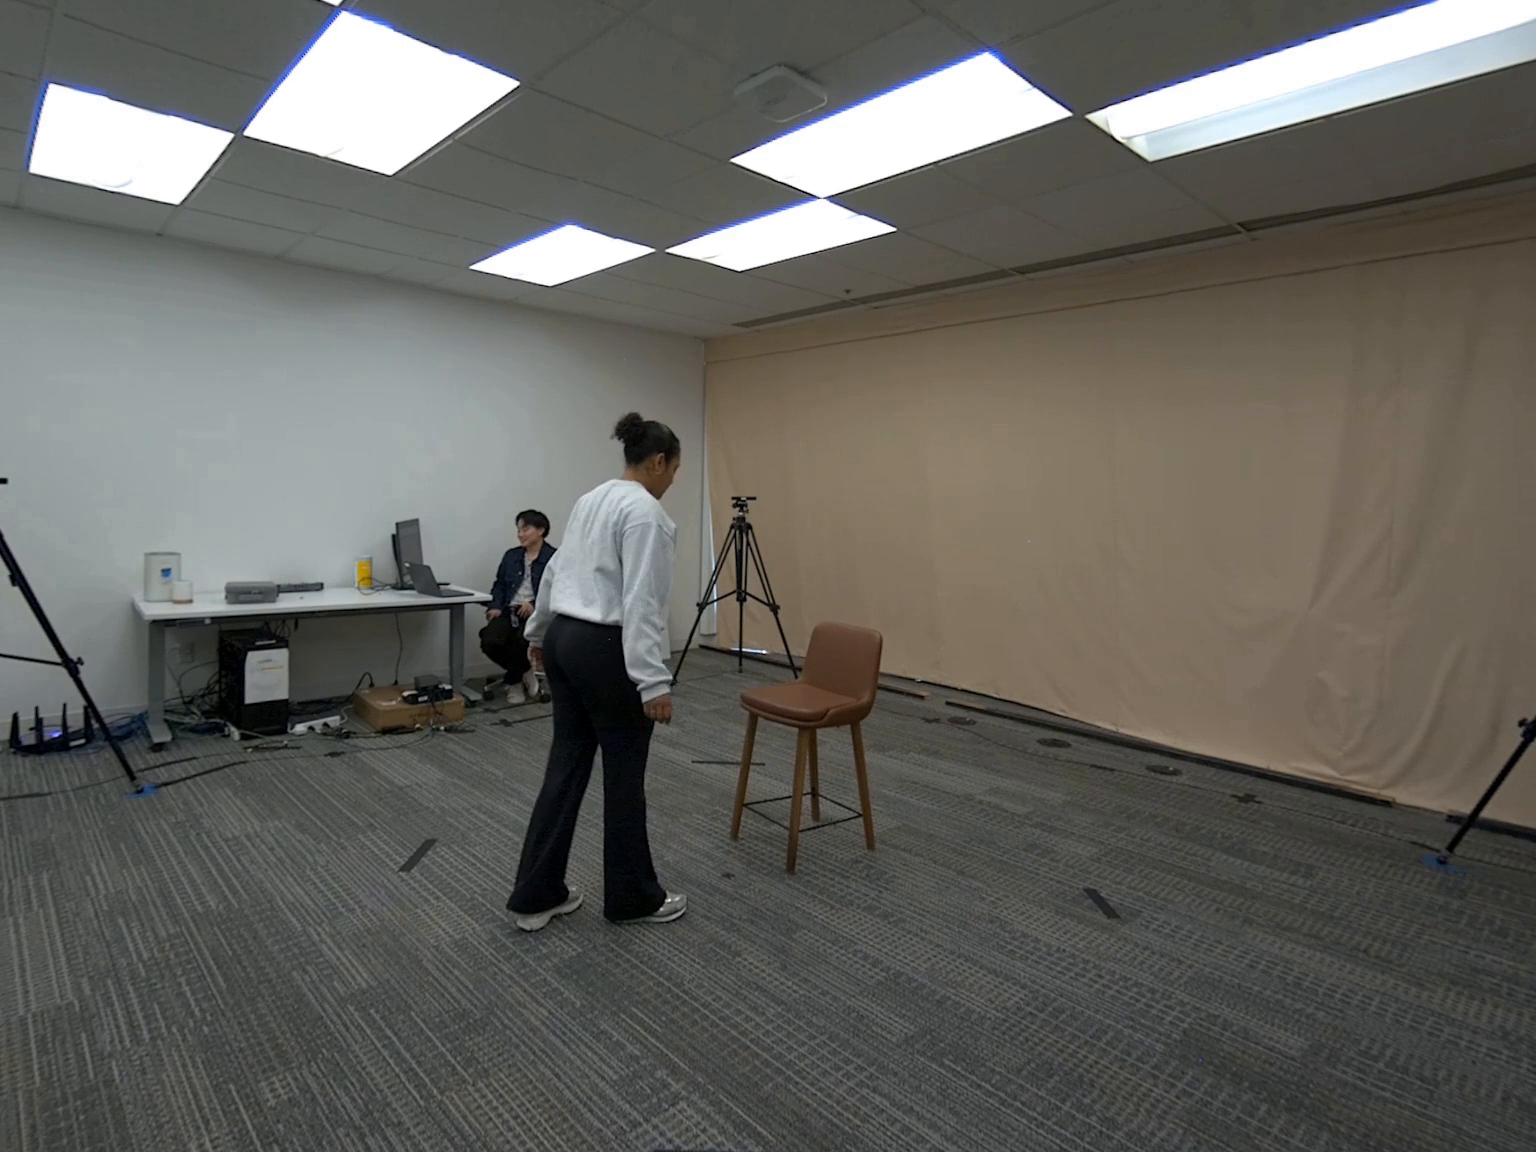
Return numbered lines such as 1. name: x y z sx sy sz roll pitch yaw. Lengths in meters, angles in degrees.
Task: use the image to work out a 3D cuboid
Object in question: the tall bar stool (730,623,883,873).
1. tall bar stool: 0.153 0.652 3.393 0.457 0.889 0.467 2 2 -35
